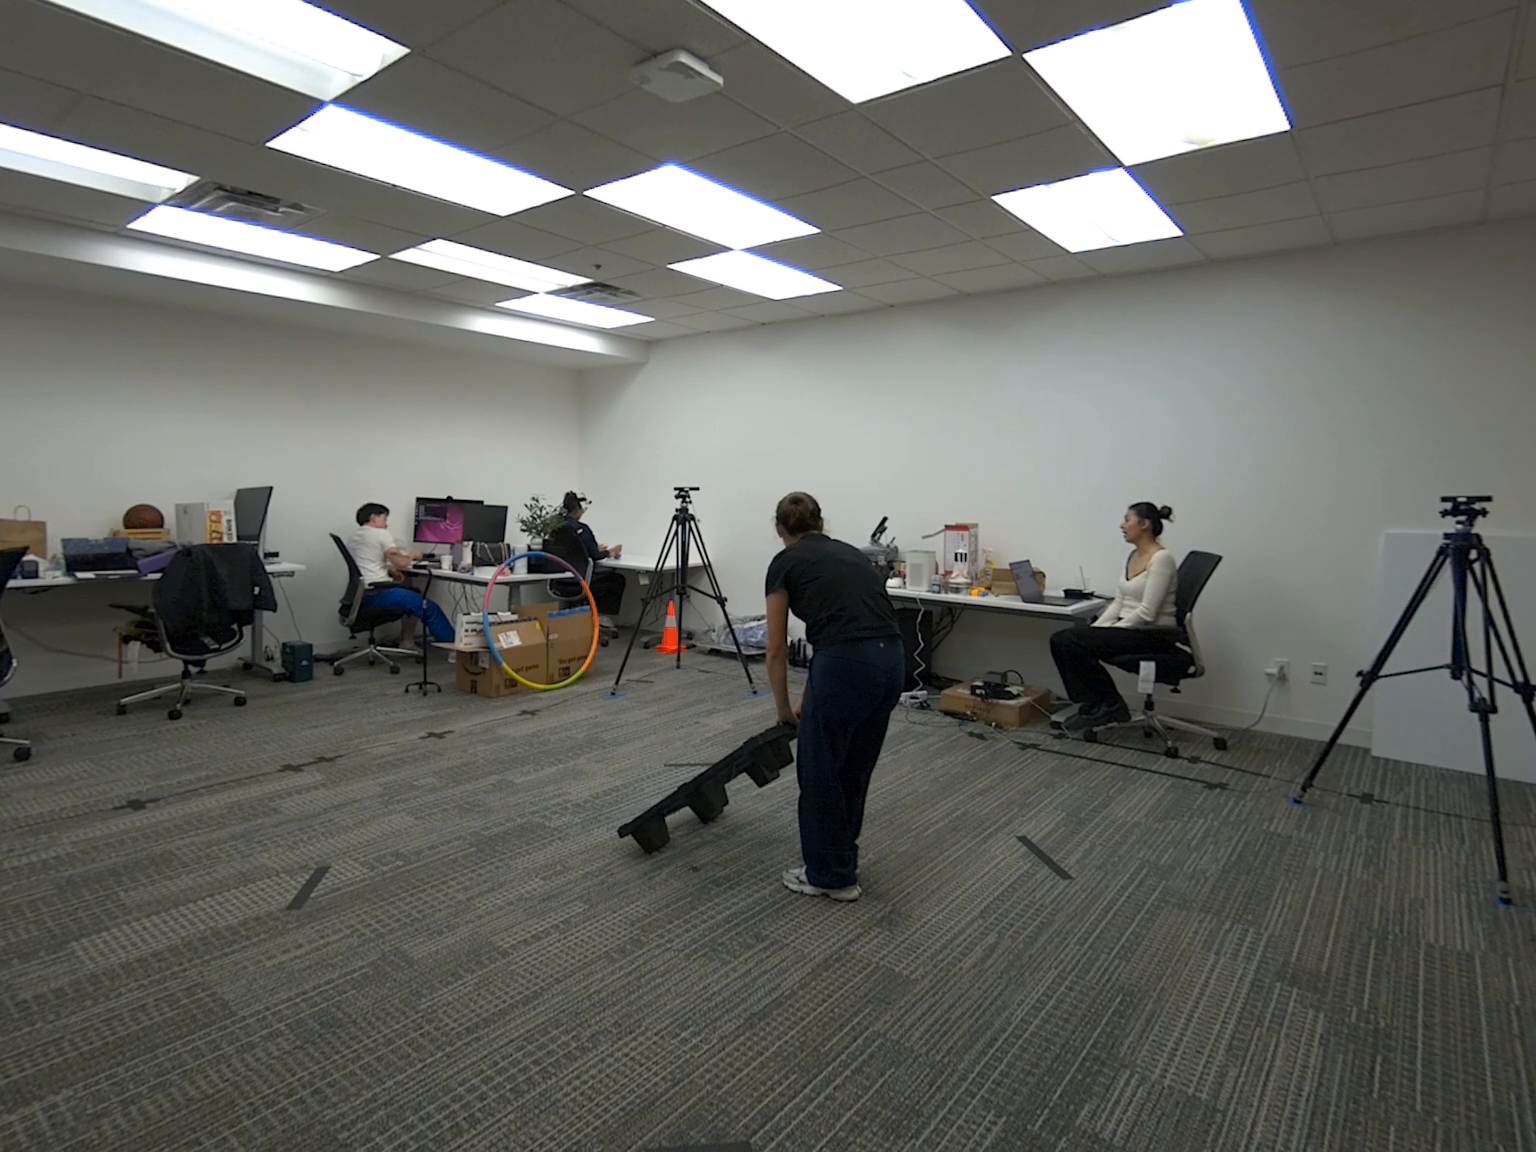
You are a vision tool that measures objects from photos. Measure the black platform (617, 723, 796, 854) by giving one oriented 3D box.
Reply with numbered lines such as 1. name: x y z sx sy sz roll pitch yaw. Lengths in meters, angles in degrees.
1. black platform: -0.110 0.776 3.272 0.809 0.146 0.589 -39 -16 29
